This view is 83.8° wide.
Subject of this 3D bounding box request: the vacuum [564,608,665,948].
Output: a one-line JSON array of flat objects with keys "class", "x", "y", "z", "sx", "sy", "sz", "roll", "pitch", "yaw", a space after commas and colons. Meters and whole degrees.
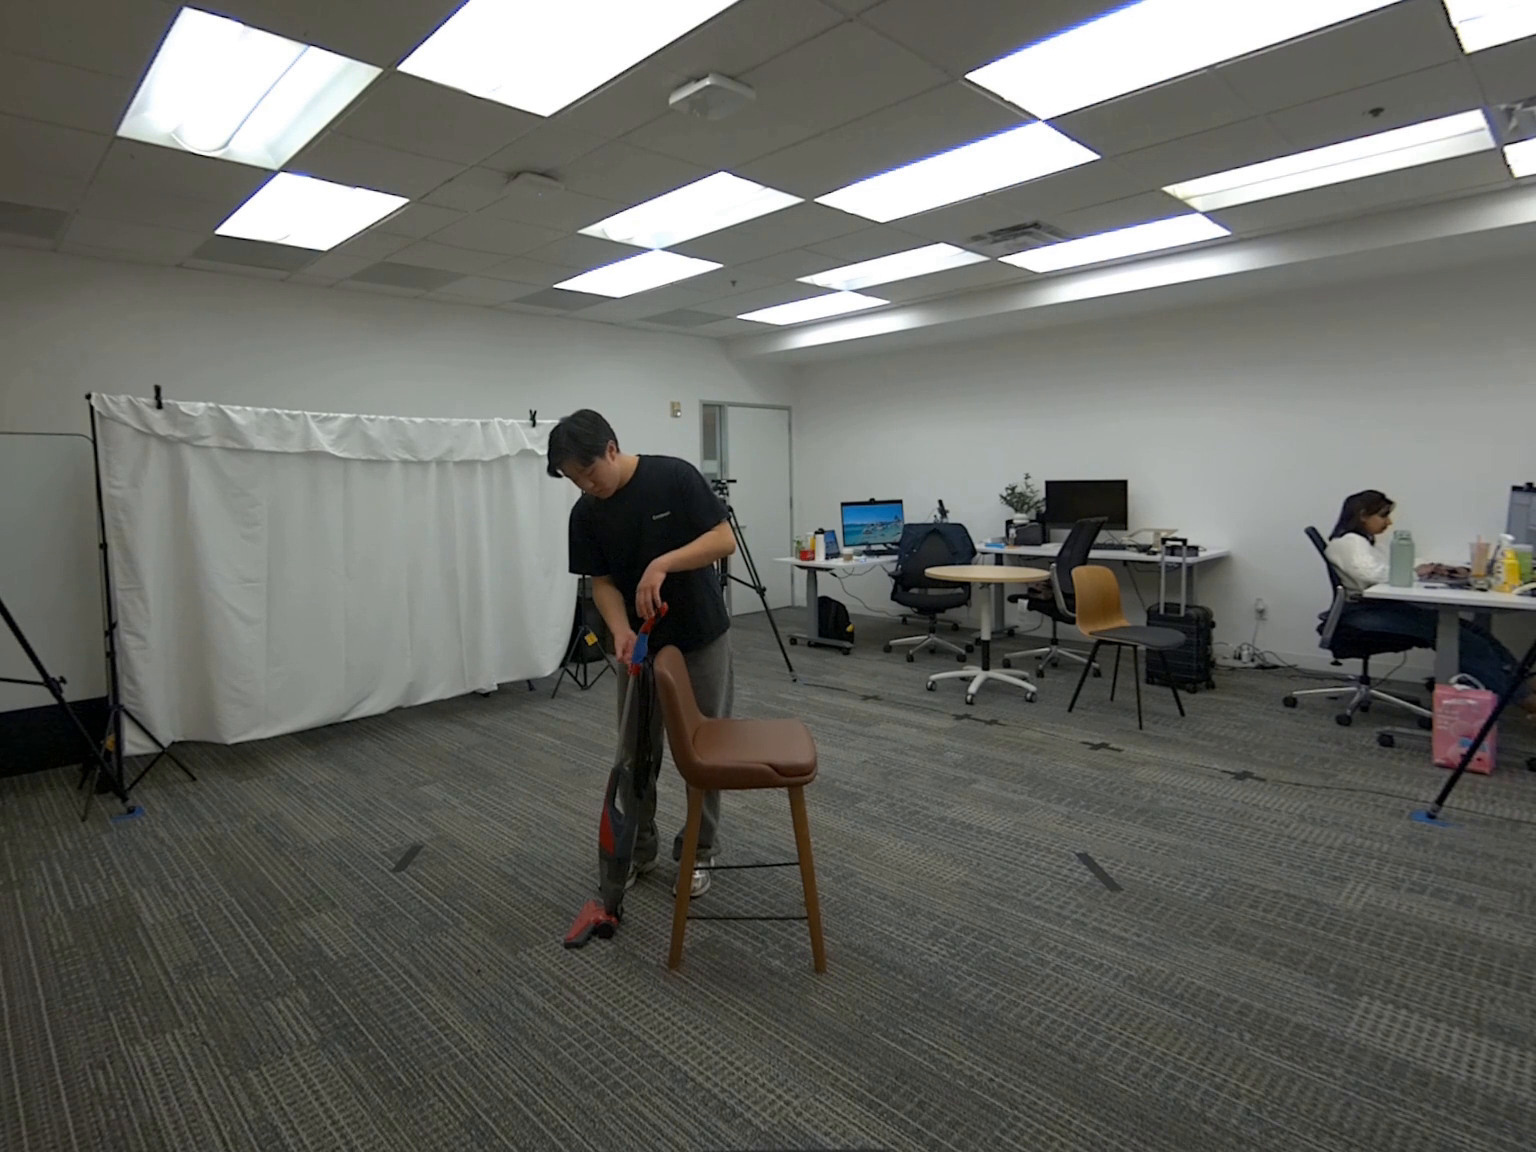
[{"class": "vacuum", "x": -0.440, "y": 0.603, "z": 2.643, "sx": 0.144, "sy": 1.046, "sz": 0.253, "roll": 10, "pitch": 4, "yaw": -2}]
